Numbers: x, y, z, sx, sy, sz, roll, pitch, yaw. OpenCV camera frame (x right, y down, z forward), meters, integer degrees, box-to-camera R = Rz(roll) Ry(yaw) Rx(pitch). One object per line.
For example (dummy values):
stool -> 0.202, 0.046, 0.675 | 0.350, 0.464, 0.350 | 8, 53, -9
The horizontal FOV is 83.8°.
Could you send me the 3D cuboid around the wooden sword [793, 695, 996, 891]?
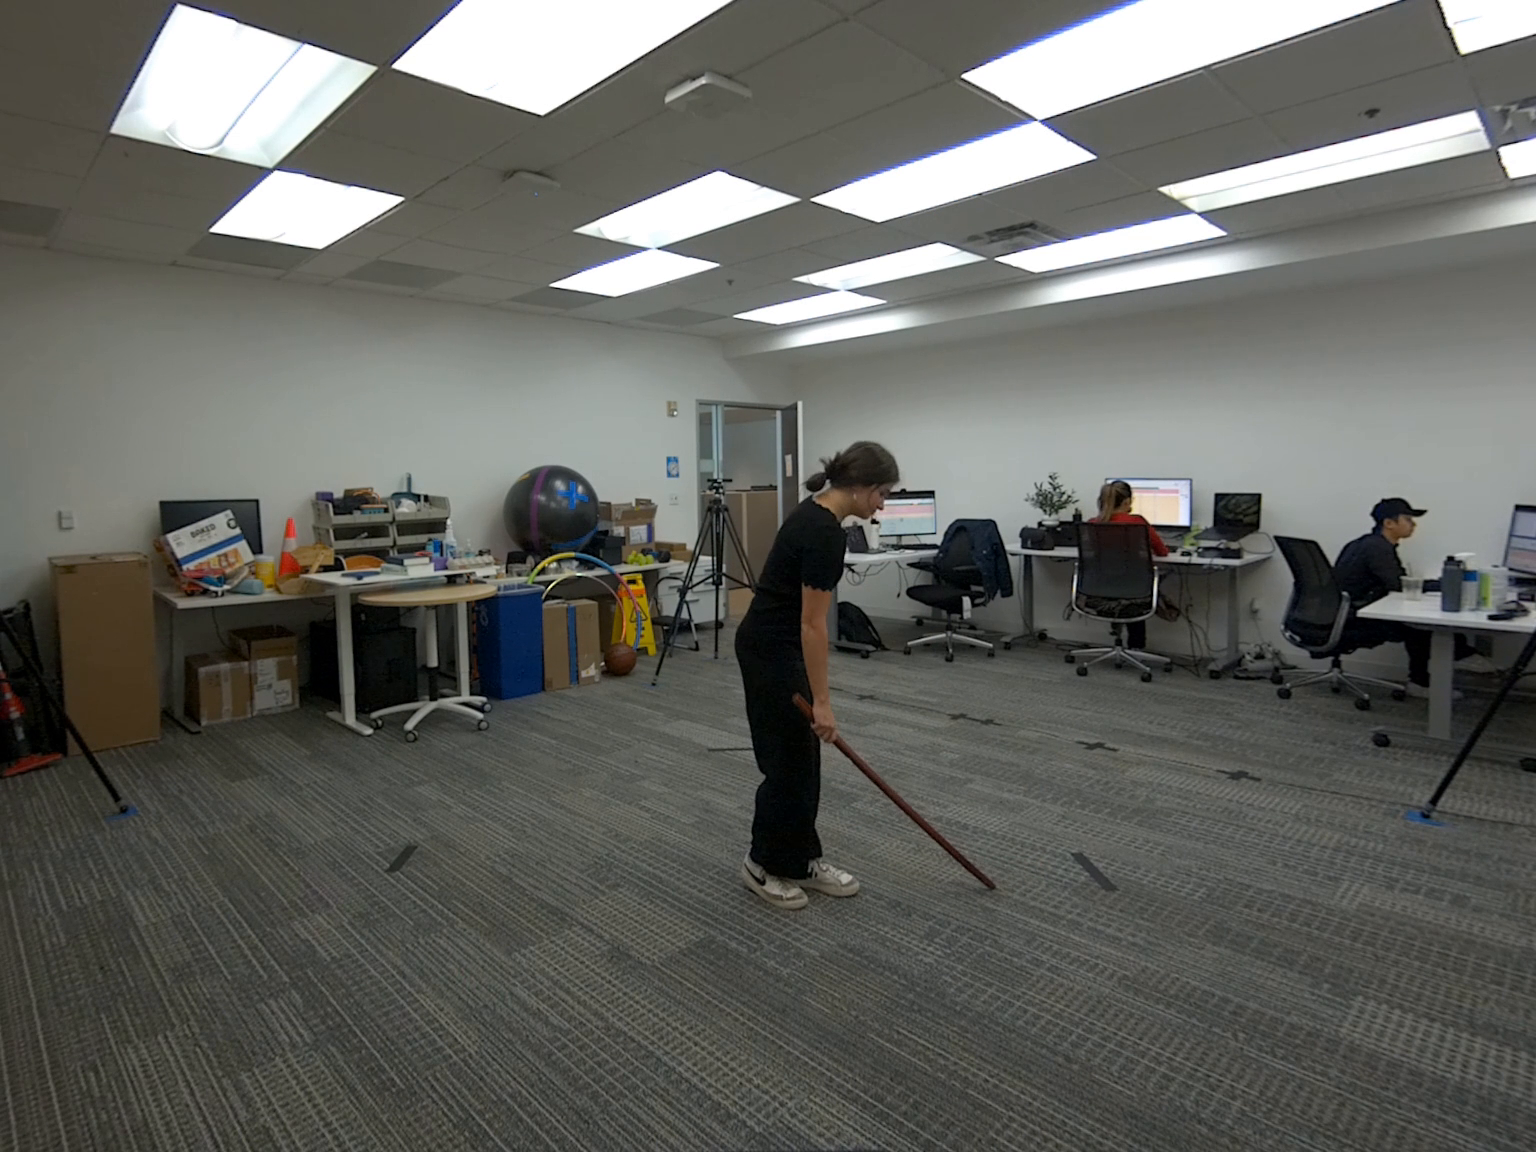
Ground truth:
wooden sword -> 0.421, 0.722, 2.753 | 1.002, 0.051, 0.024 | 43, -13, -17
